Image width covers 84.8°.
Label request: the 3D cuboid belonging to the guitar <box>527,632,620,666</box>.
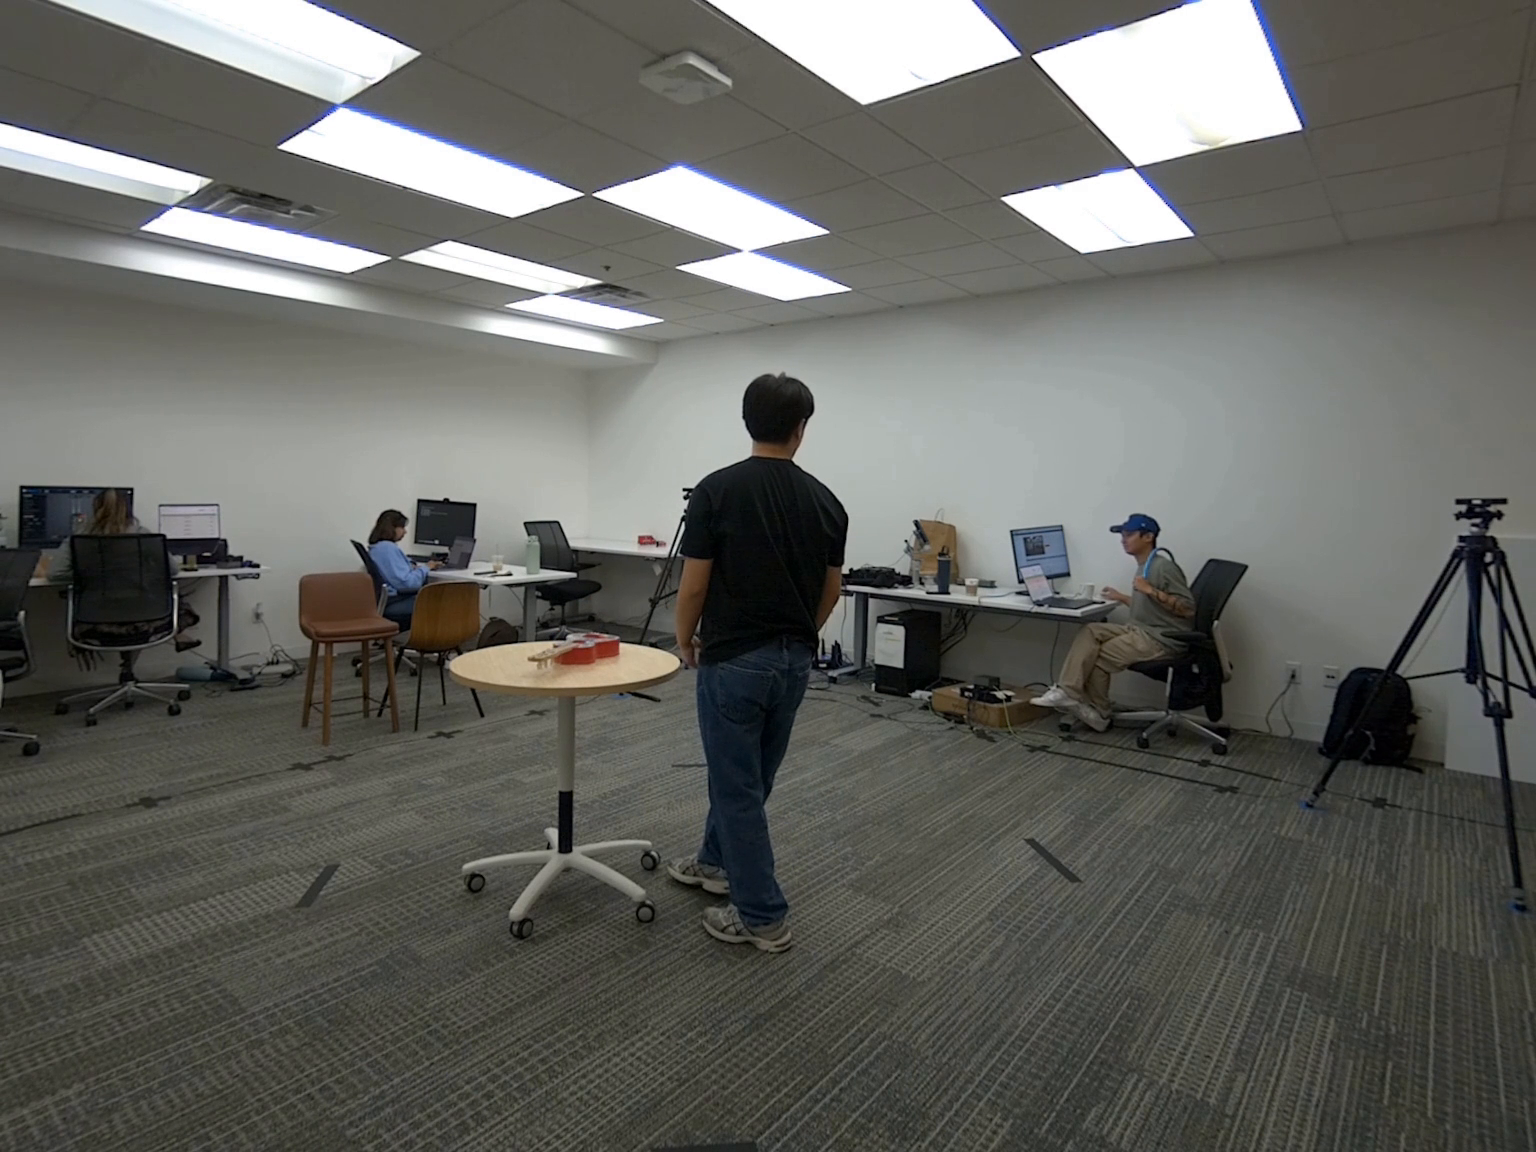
[{"bbox_3d":[-0.704,0.257,2.864,0.198,0.070,0.488,4,6,21],"label":"guitar"}]
